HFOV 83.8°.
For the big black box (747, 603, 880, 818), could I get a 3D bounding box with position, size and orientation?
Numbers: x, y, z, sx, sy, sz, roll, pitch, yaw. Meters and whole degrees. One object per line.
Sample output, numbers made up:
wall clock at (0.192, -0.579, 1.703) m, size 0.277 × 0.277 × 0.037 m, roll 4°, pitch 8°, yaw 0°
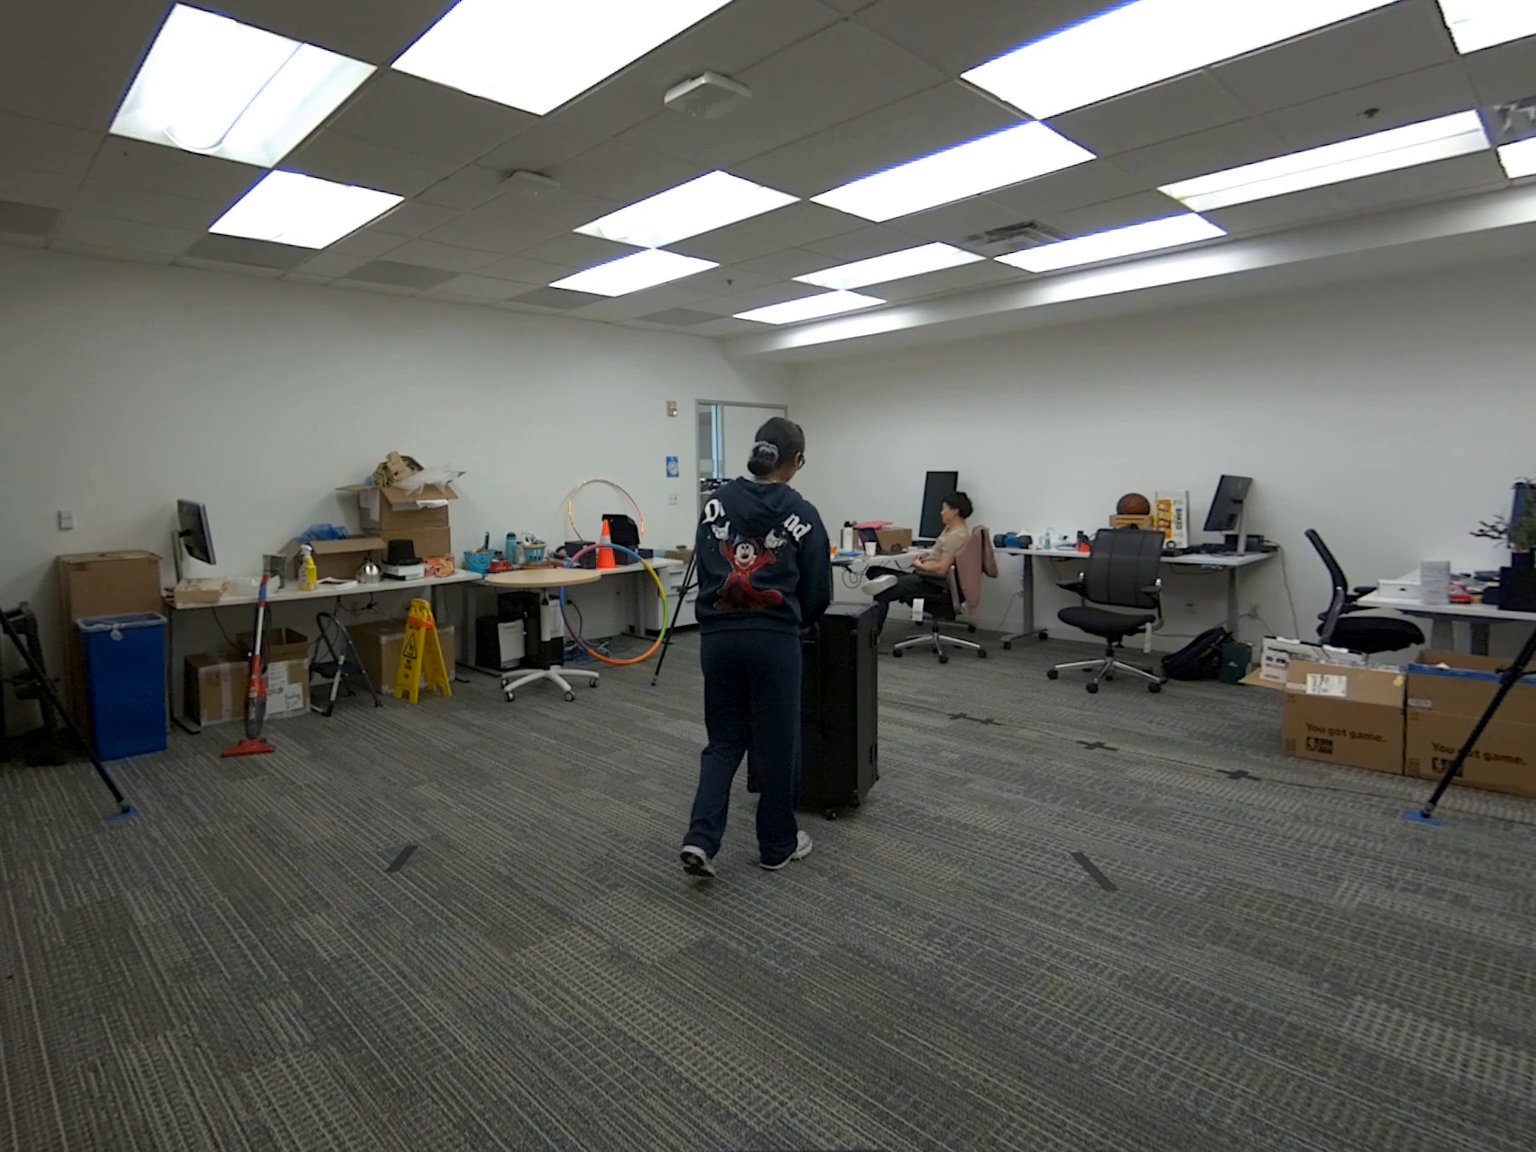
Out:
big black box at (0.203, 0.555, 3.652) m, size 0.532 × 0.857 × 0.390 m, roll 2°, pitch 6°, yaw 22°
